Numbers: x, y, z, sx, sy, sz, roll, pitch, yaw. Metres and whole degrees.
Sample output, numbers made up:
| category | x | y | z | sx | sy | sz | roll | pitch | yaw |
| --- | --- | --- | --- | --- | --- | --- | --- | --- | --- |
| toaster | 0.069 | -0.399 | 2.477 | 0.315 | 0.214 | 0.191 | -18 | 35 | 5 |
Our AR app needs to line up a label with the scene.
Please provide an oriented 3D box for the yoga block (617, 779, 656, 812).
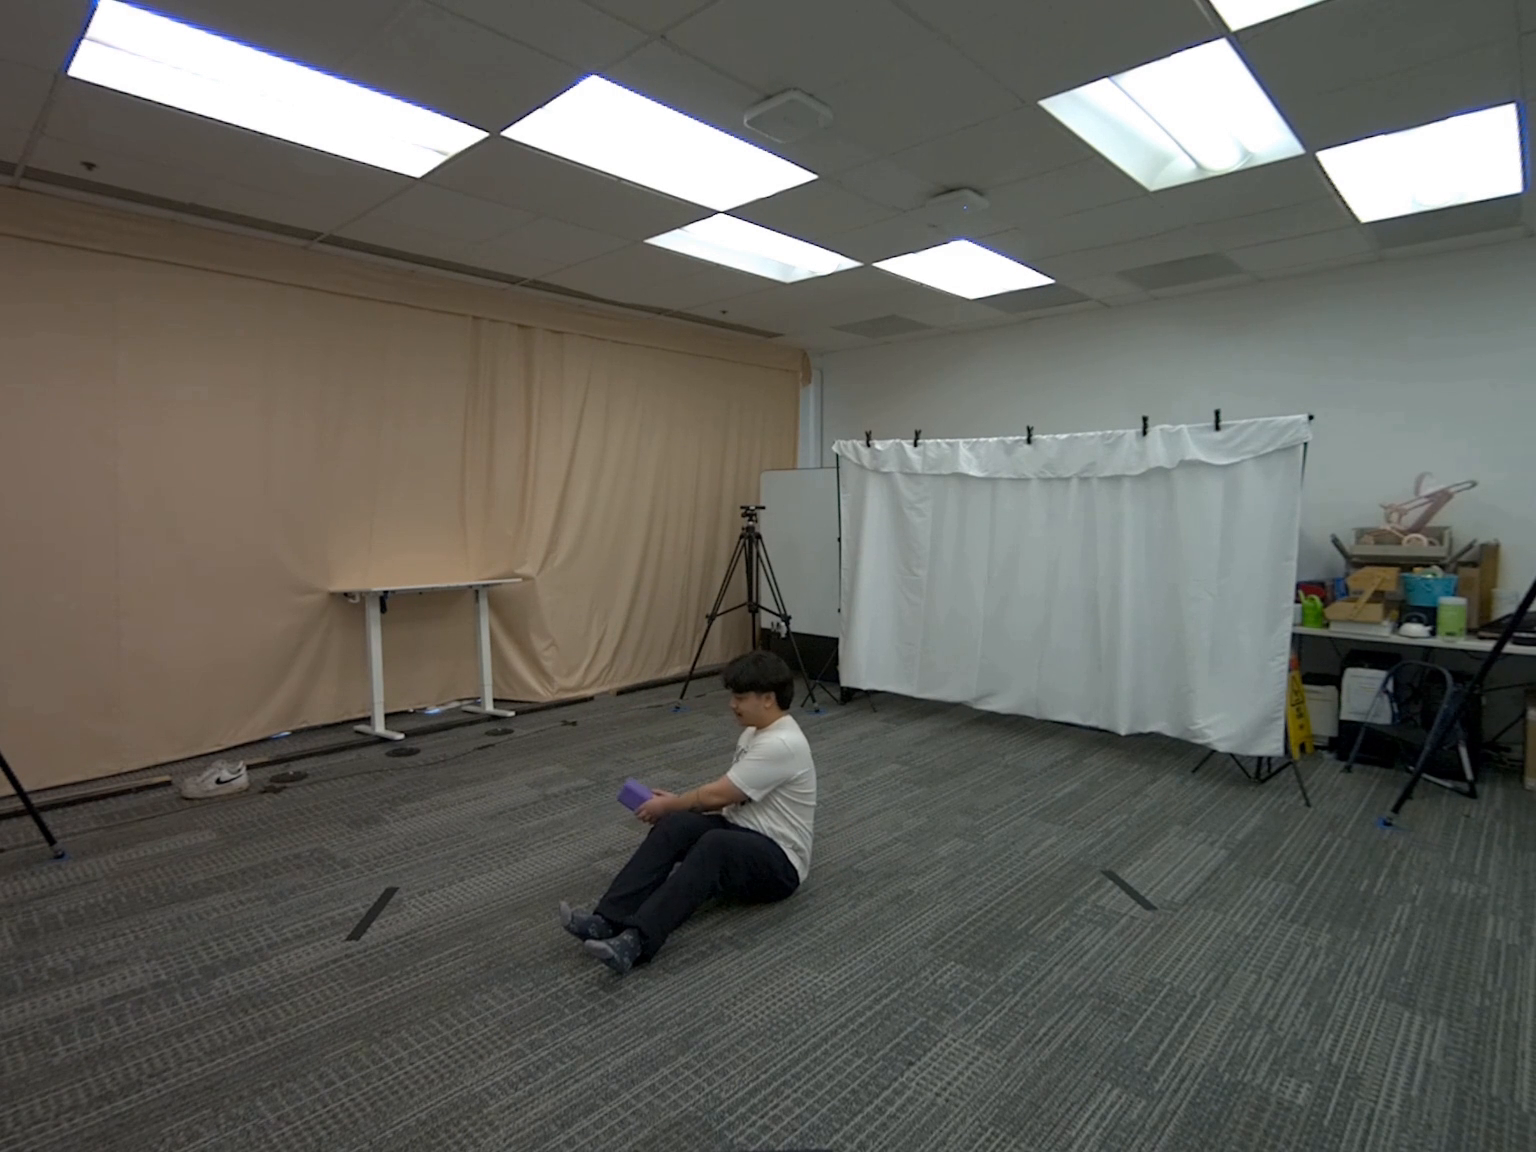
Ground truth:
| category | x | y | z | sx | sy | sz | roll | pitch | yaw |
| --- | --- | --- | --- | --- | --- | --- | --- | --- | --- |
| yoga block | -0.462 | 0.889 | 3.268 | 0.229 | 0.076 | 0.149 | 32 | -2 | -1 |
